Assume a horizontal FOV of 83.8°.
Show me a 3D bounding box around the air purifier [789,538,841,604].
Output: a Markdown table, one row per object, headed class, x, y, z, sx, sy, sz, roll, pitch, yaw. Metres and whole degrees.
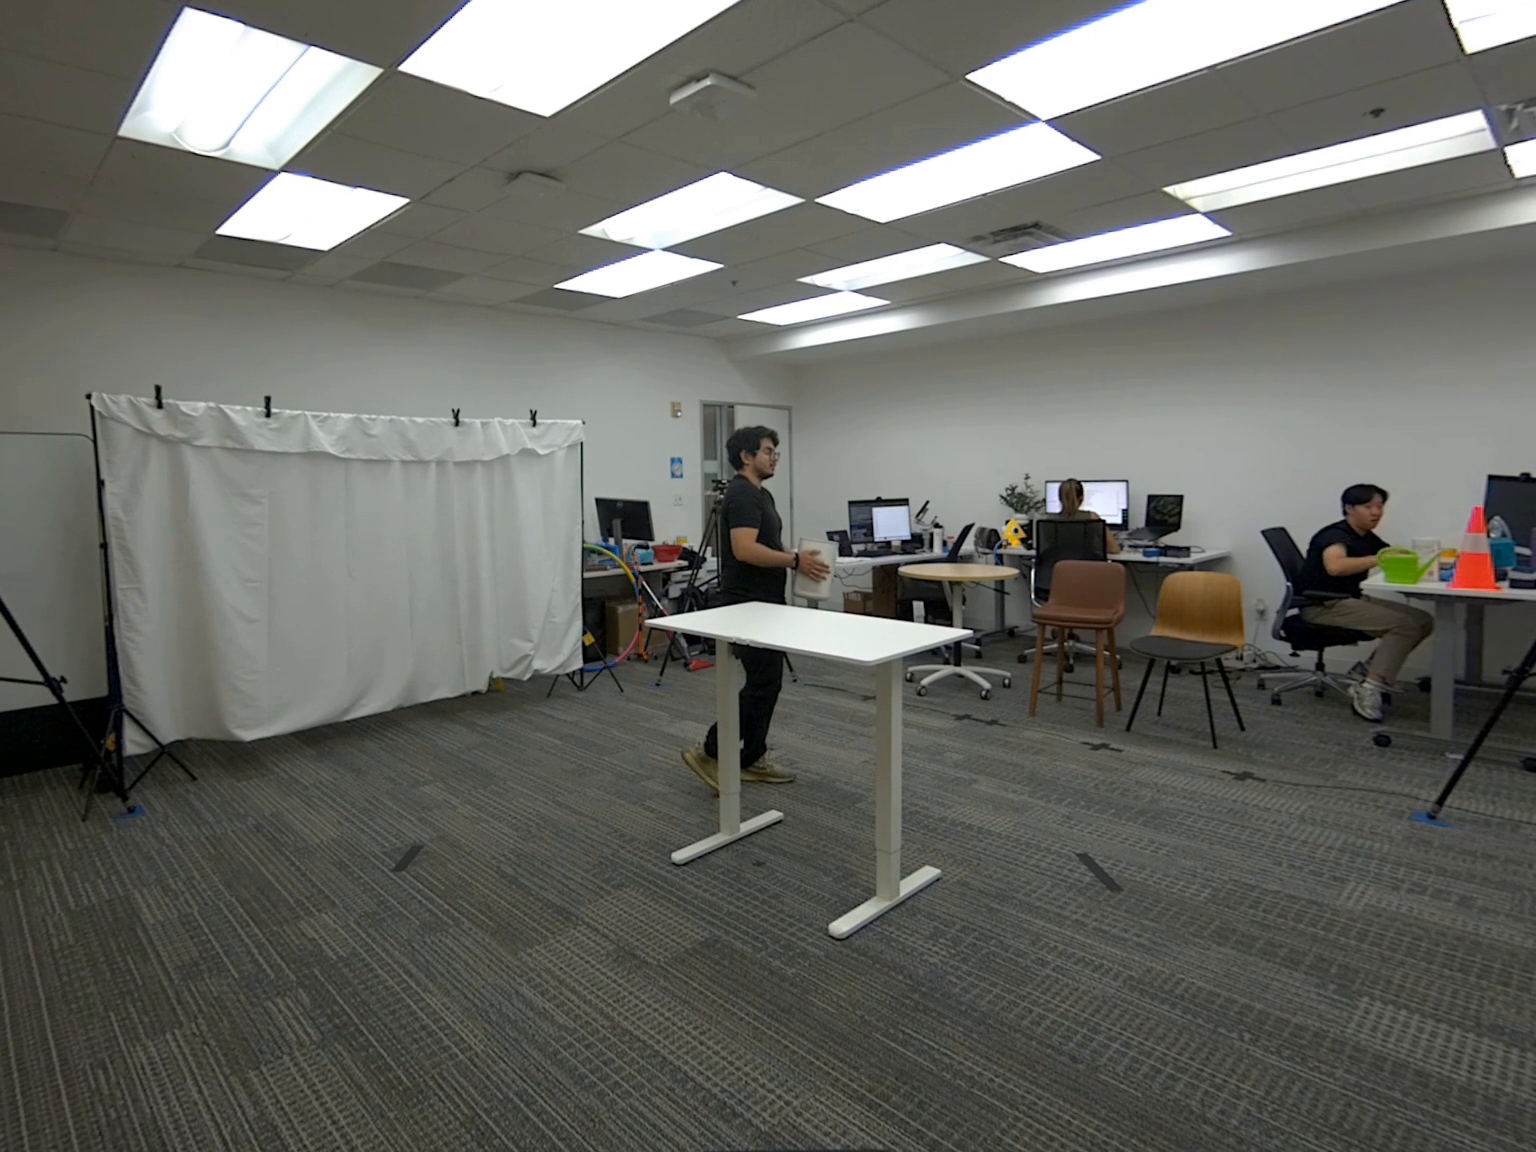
| class | x | y | z | sx | sy | sz | roll | pitch | yaw |
| --- | --- | --- | --- | --- | --- | --- | --- | --- | --- |
| air purifier | 0.209 | -0.029 | 3.826 | 0.174 | 0.265 | 0.169 | 8 | 2 | 13 |
